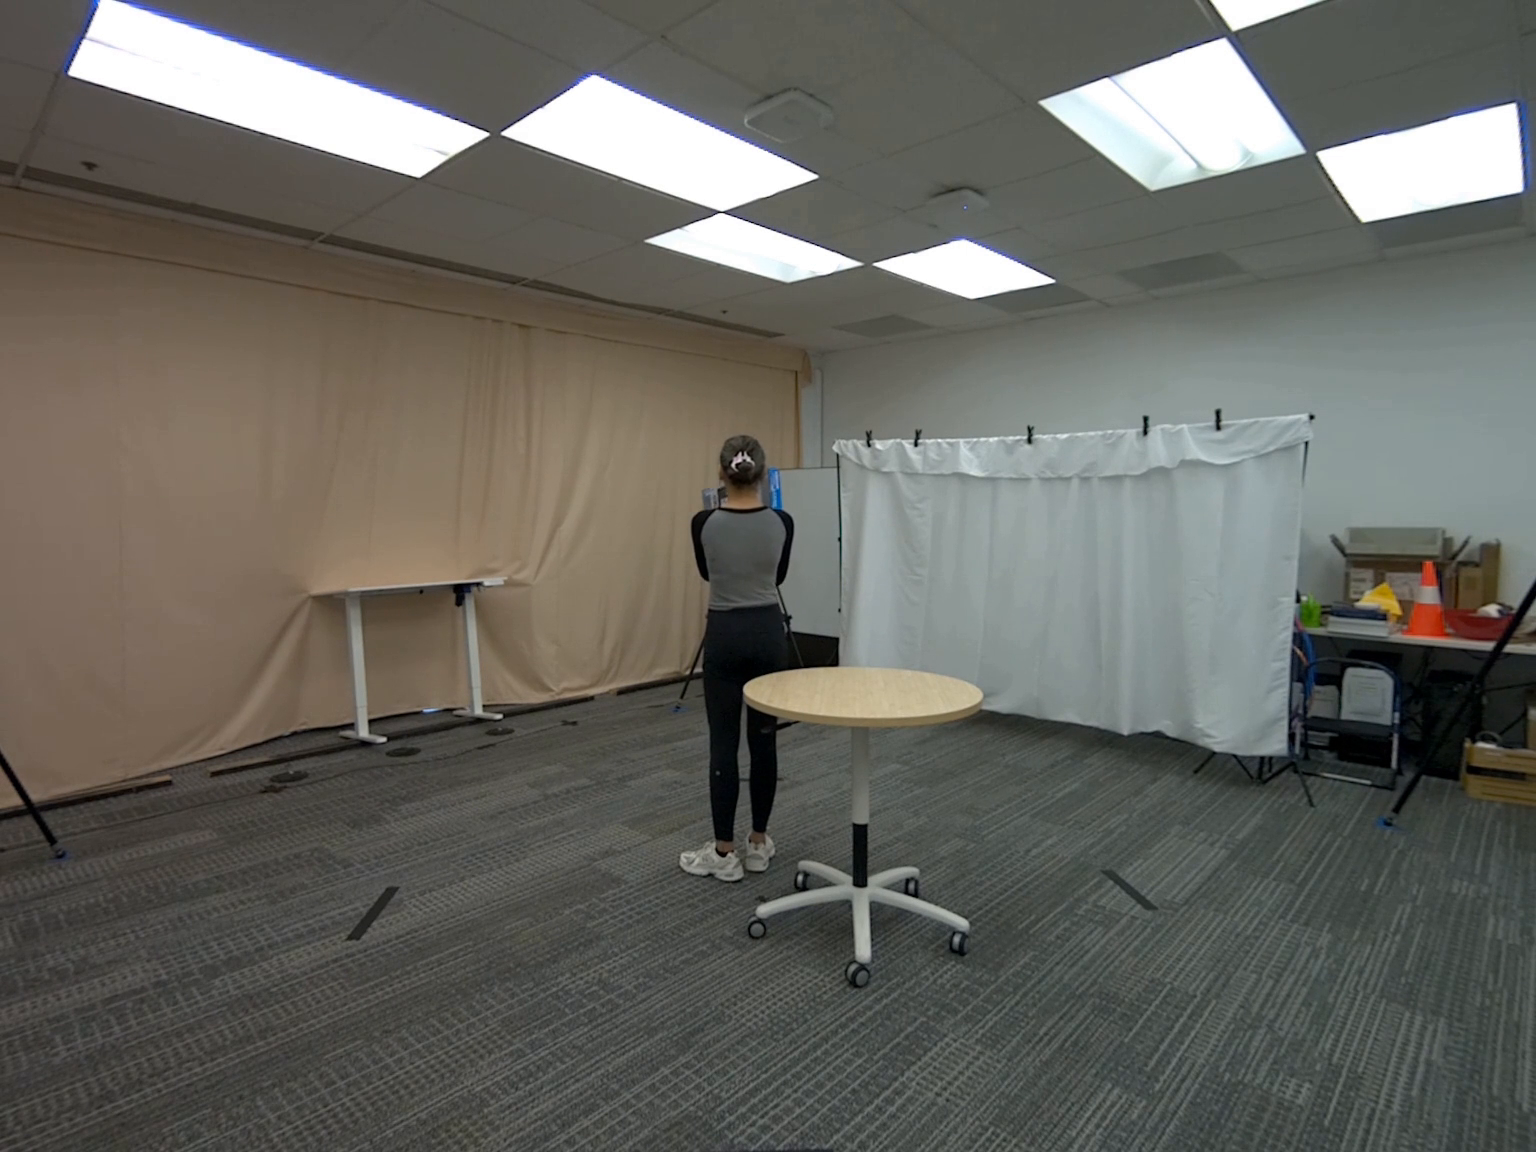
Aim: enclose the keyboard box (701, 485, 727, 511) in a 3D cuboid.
[{"bbox_3d":[-0.115,-0.320,3.552,0.057,0.177,0.449,2,-9,-42],"label":"keyboard box"}]
